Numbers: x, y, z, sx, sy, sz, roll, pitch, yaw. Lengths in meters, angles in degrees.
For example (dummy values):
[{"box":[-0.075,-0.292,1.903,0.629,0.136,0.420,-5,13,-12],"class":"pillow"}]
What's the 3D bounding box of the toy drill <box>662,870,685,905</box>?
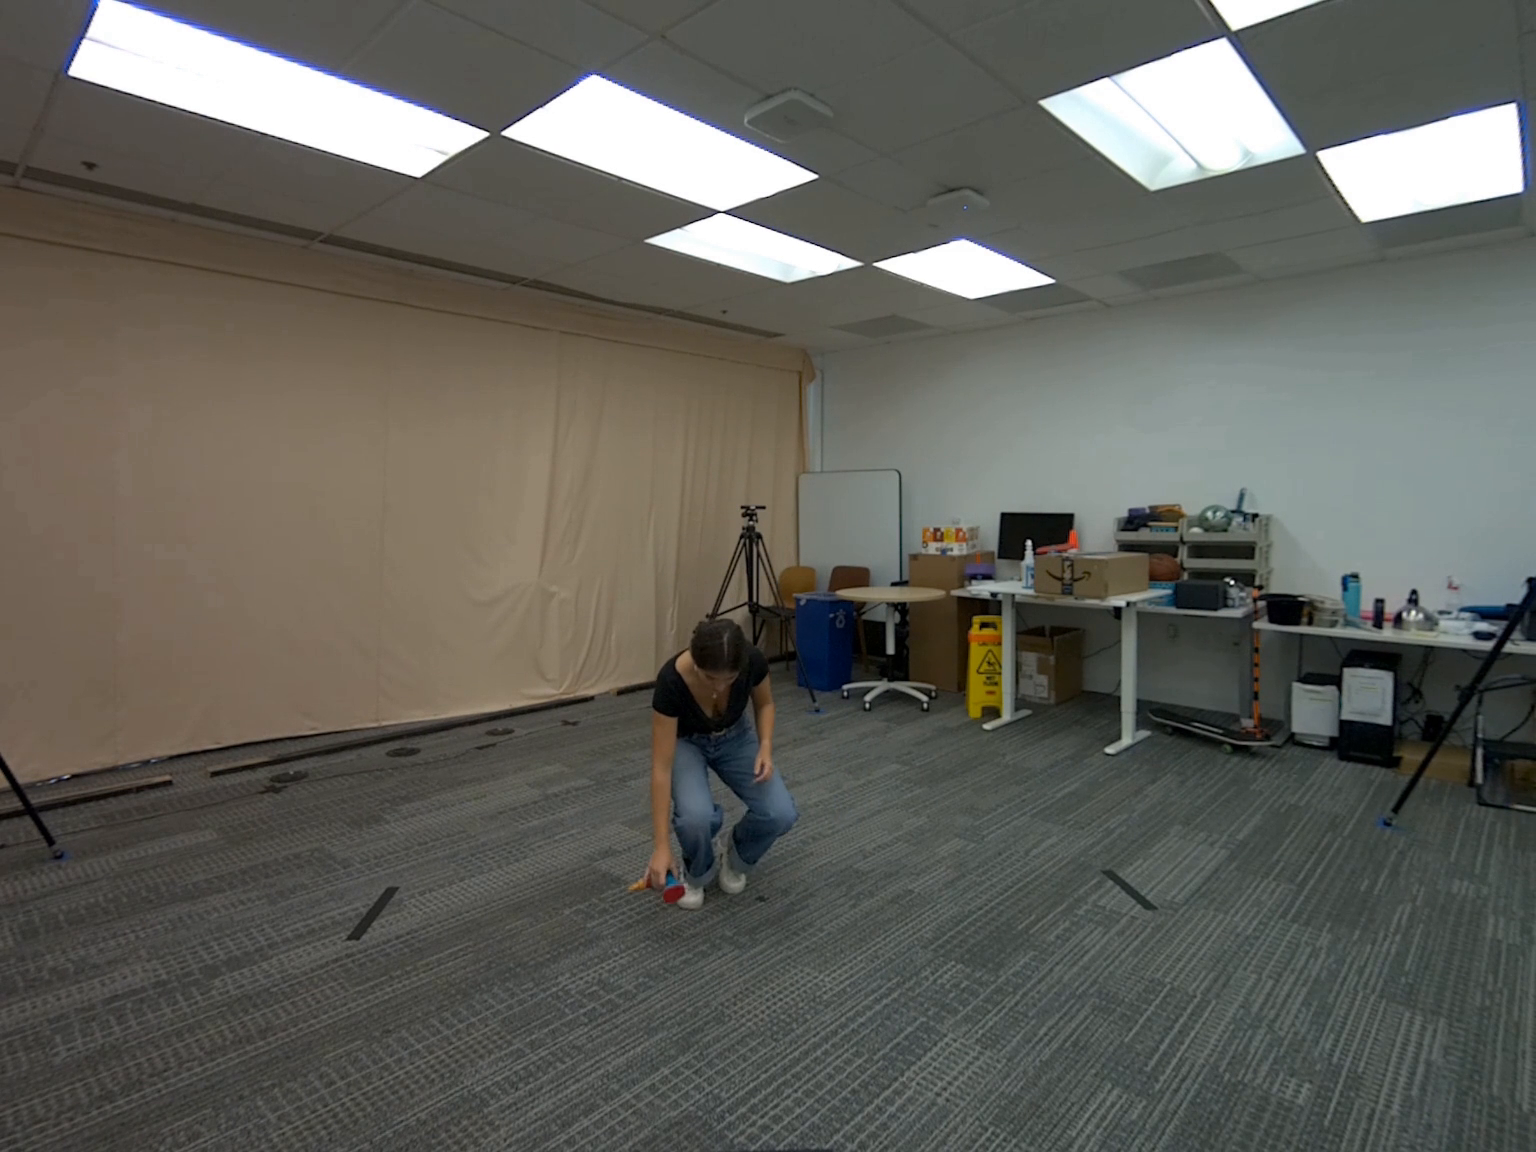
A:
[{"box":[-0.351,0.989,2.698,0.167,0.061,0.149,-10,8,-20],"class":"toy drill"}]
